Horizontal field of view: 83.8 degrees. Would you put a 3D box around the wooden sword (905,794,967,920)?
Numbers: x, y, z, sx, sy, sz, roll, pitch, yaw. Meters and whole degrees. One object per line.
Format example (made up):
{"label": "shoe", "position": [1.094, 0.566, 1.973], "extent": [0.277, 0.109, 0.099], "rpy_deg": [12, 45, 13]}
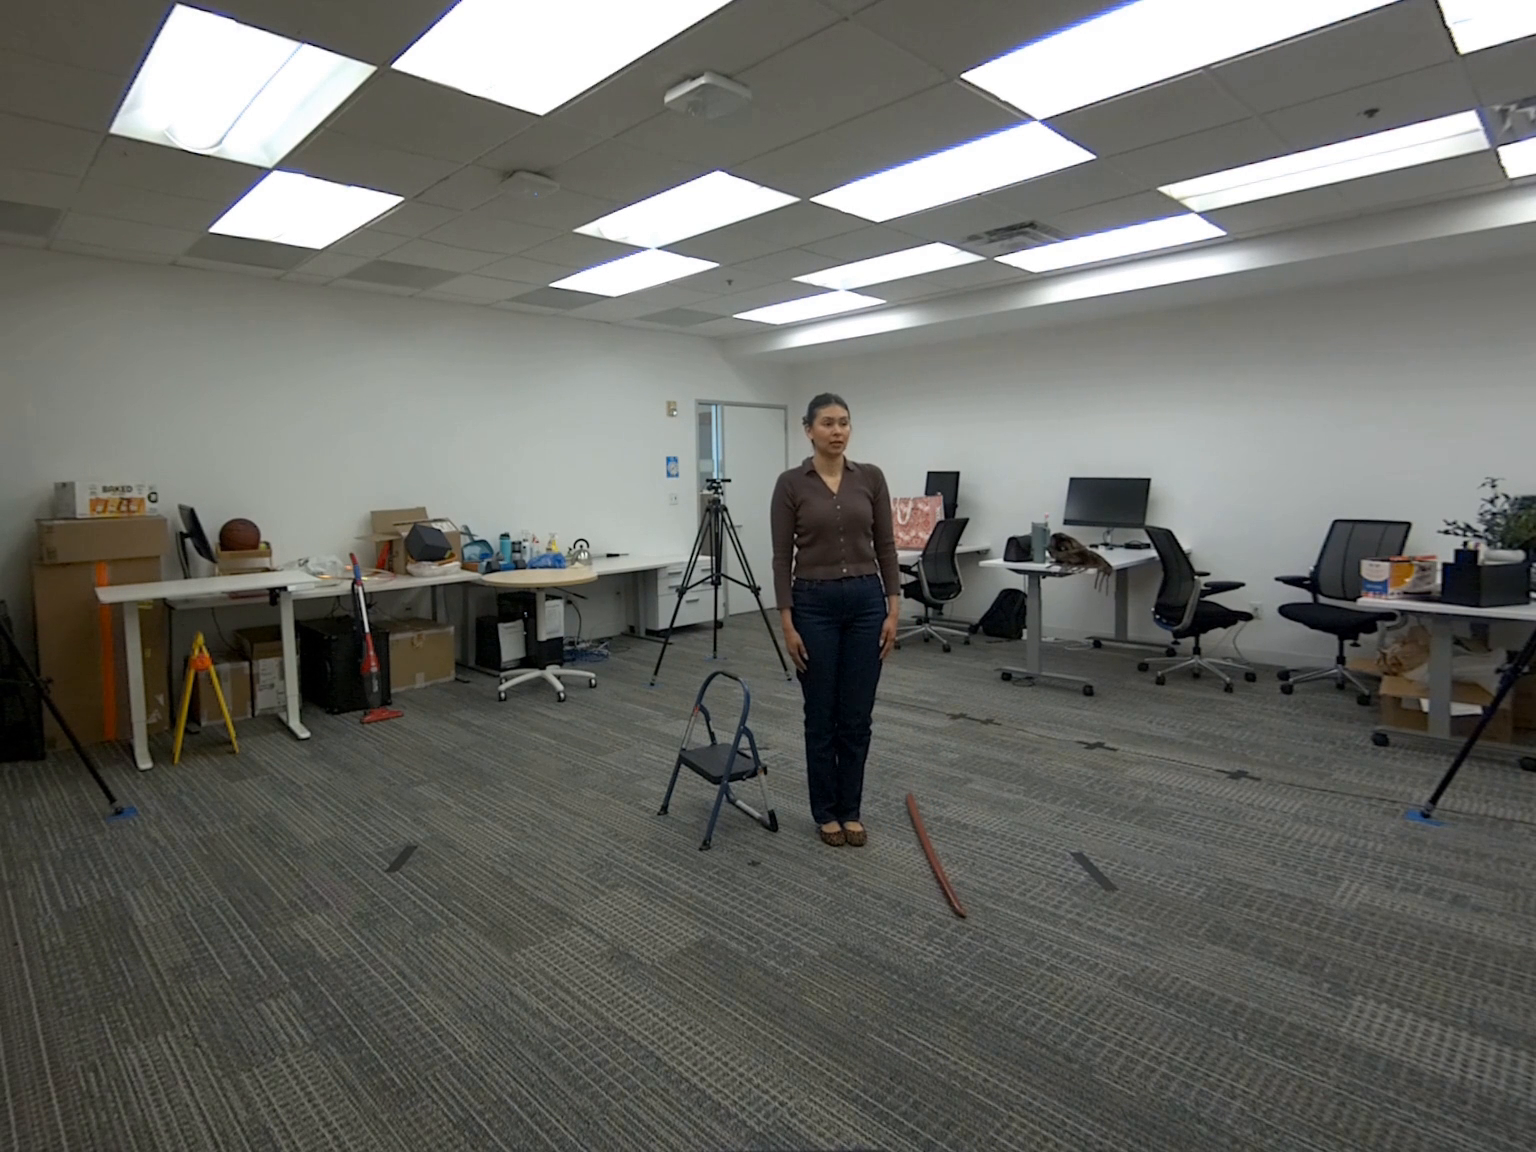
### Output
{"label": "wooden sword", "position": [0.593, 0.999, 3.198], "extent": [0.051, 0.024, 1.026], "rpy_deg": [-8, 6, 1]}
